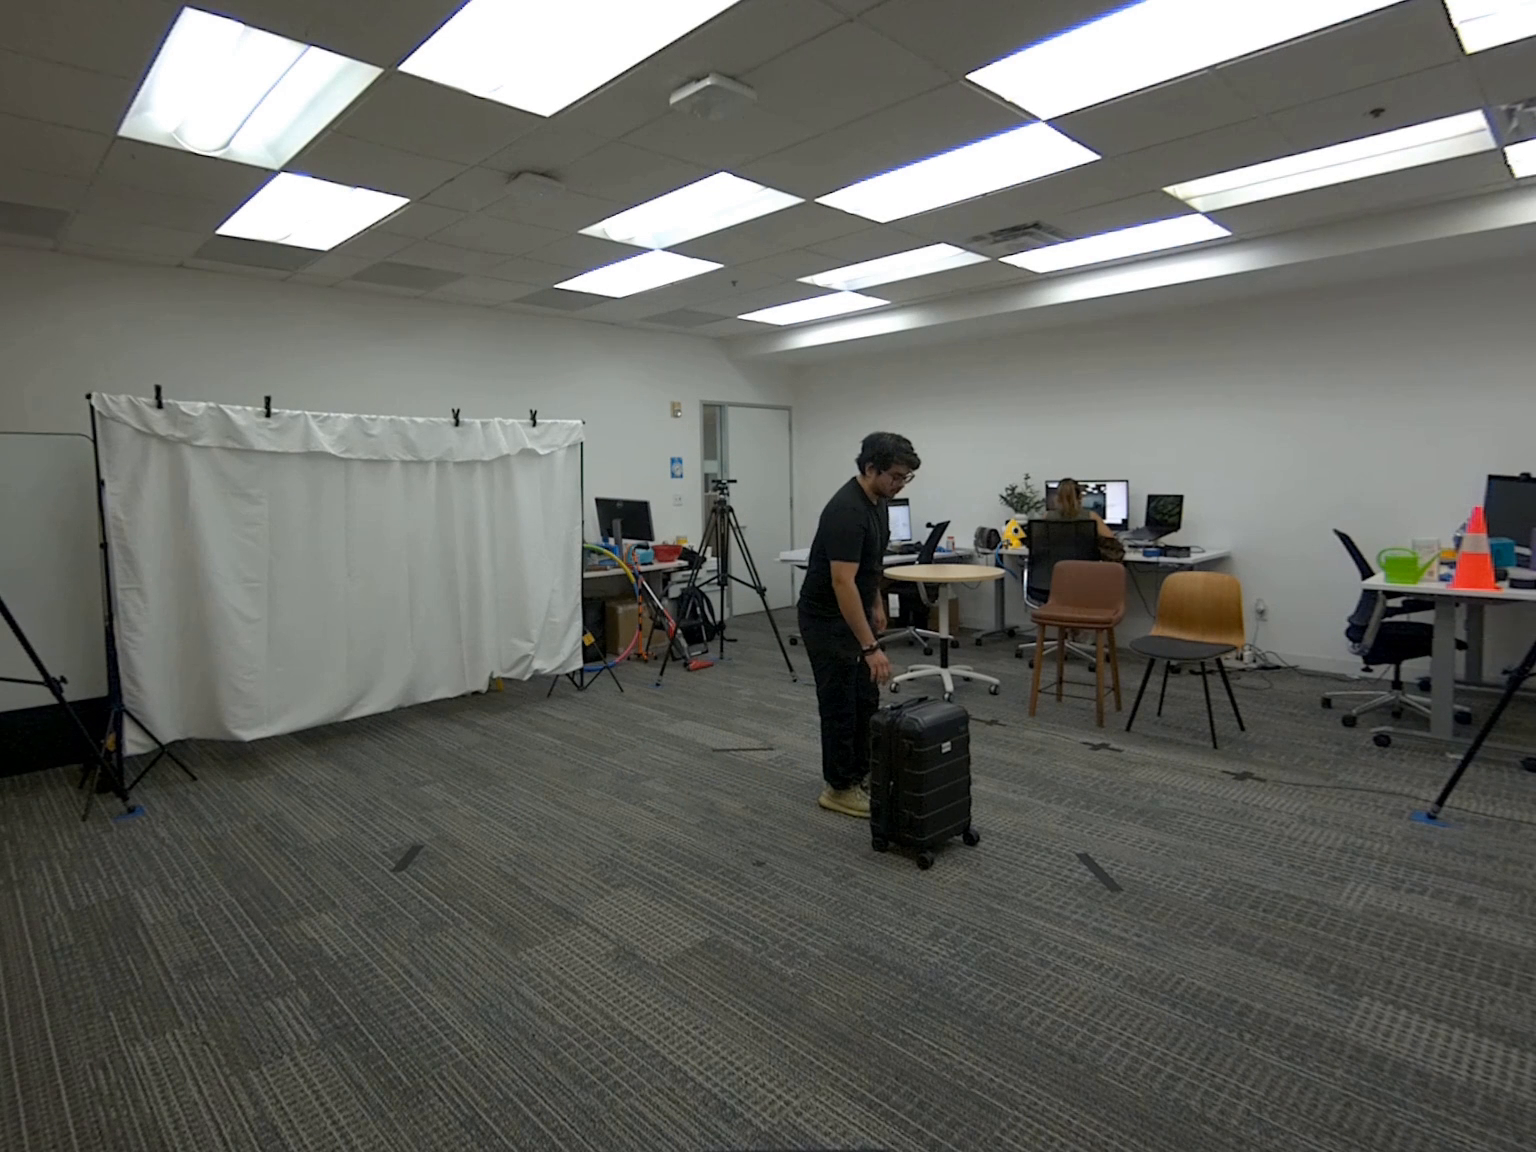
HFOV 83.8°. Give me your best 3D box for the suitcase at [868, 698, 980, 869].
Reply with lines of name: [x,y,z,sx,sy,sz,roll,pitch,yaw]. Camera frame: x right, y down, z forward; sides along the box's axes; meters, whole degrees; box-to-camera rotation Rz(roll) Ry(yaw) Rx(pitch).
suitcase: [0.581,0.749,3.225,0.365,0.548,0.255,-5,4,-42]
